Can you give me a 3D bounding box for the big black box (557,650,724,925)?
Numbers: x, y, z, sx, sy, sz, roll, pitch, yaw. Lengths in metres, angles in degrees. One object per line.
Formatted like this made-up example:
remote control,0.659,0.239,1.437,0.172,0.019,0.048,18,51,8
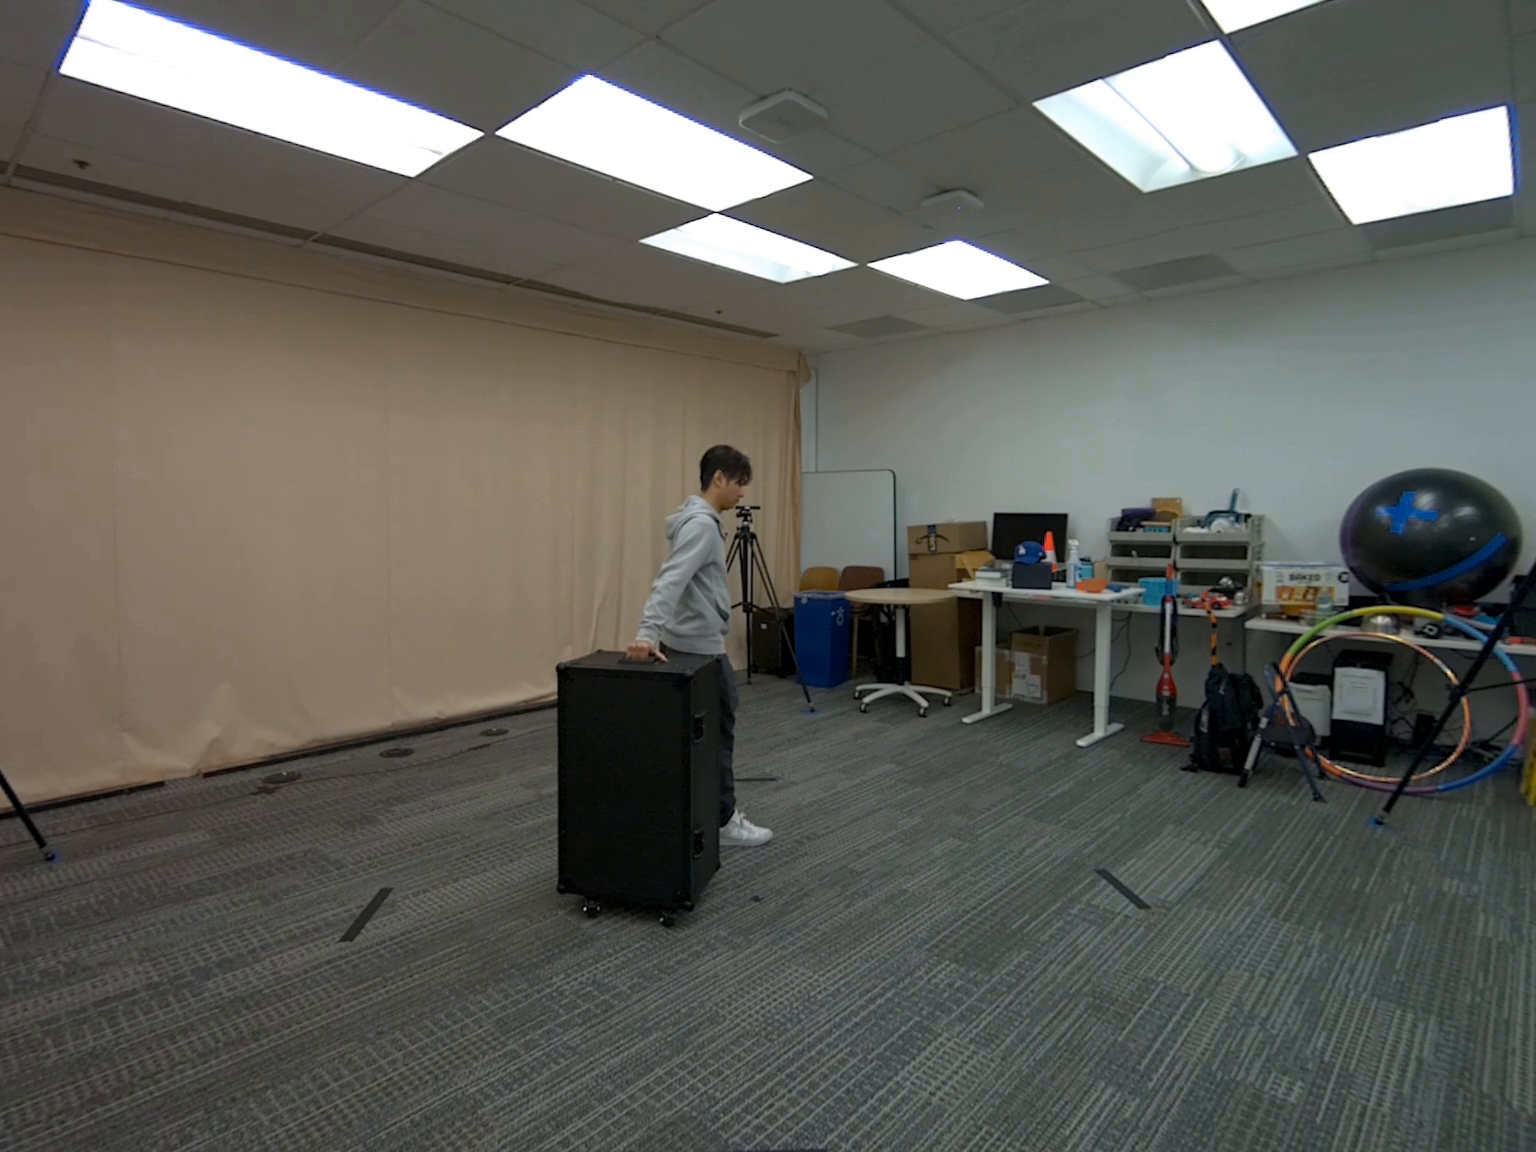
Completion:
big black box,-0.447,0.717,2.984,0.530,0.860,0.390,1,2,15
